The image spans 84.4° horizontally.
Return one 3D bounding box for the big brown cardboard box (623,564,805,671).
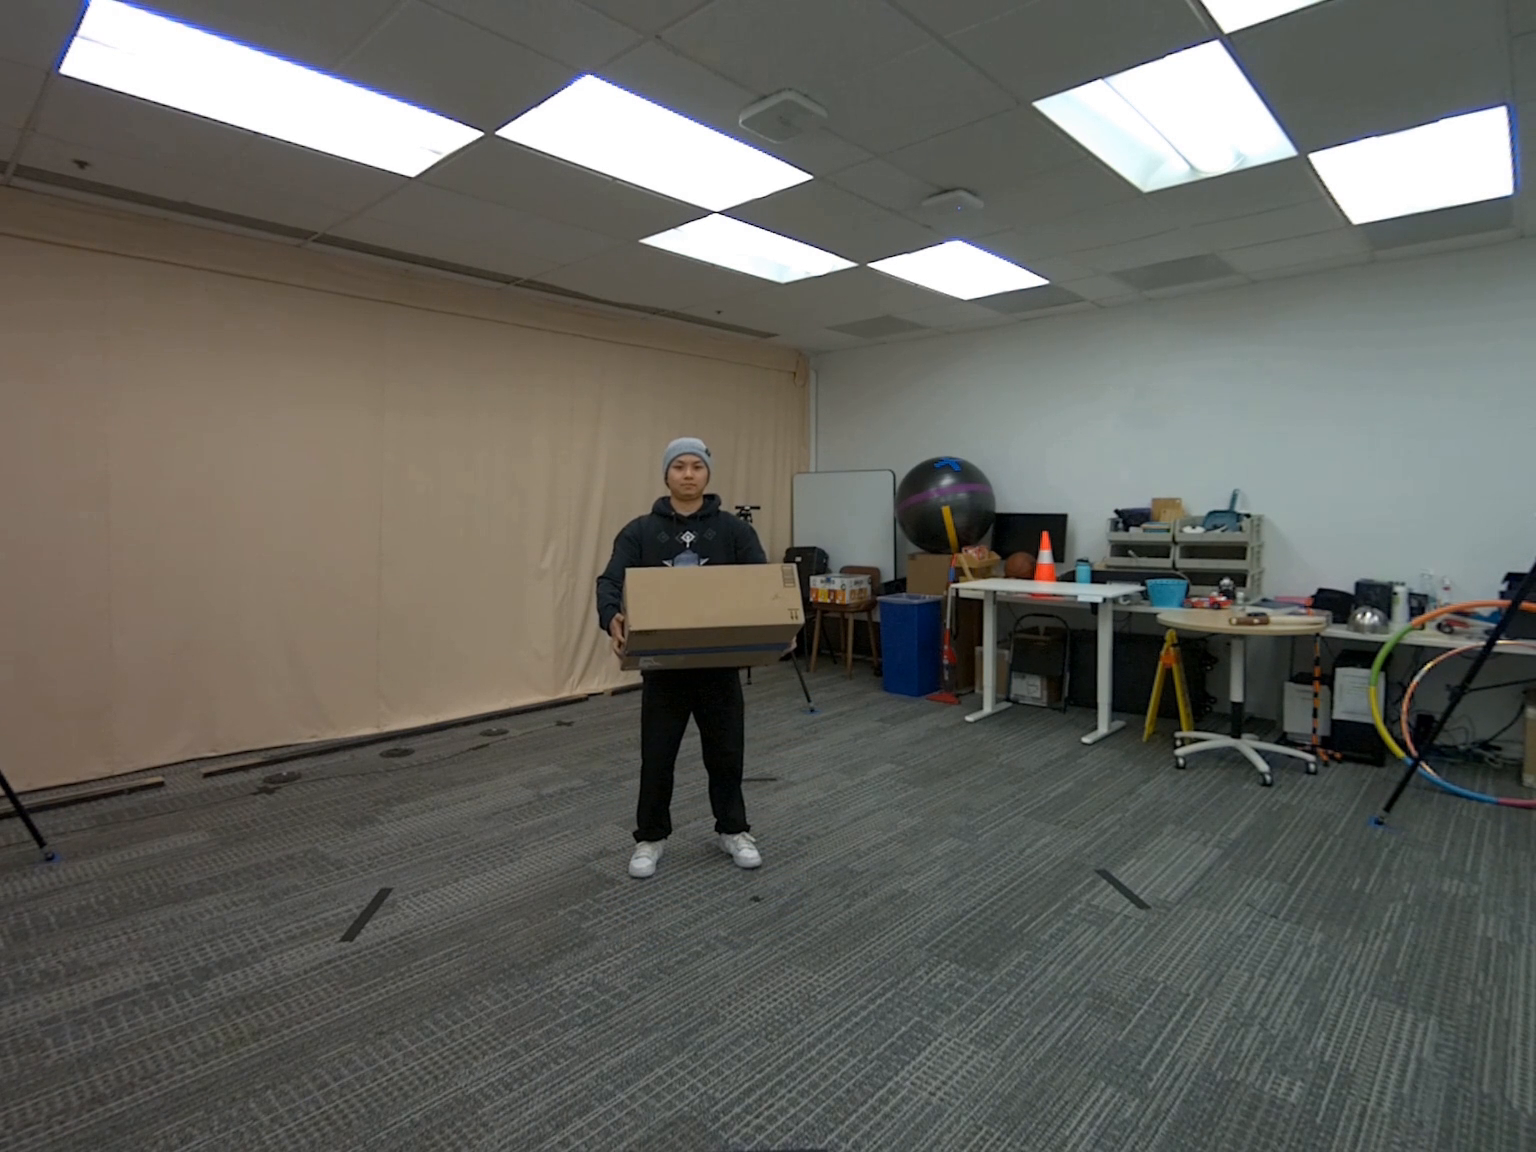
[{"bbox_3d":[-0.213,0.148,2.874,0.583,0.237,0.415,-2,-24,-10],"label":"big brown cardboard box"}]
